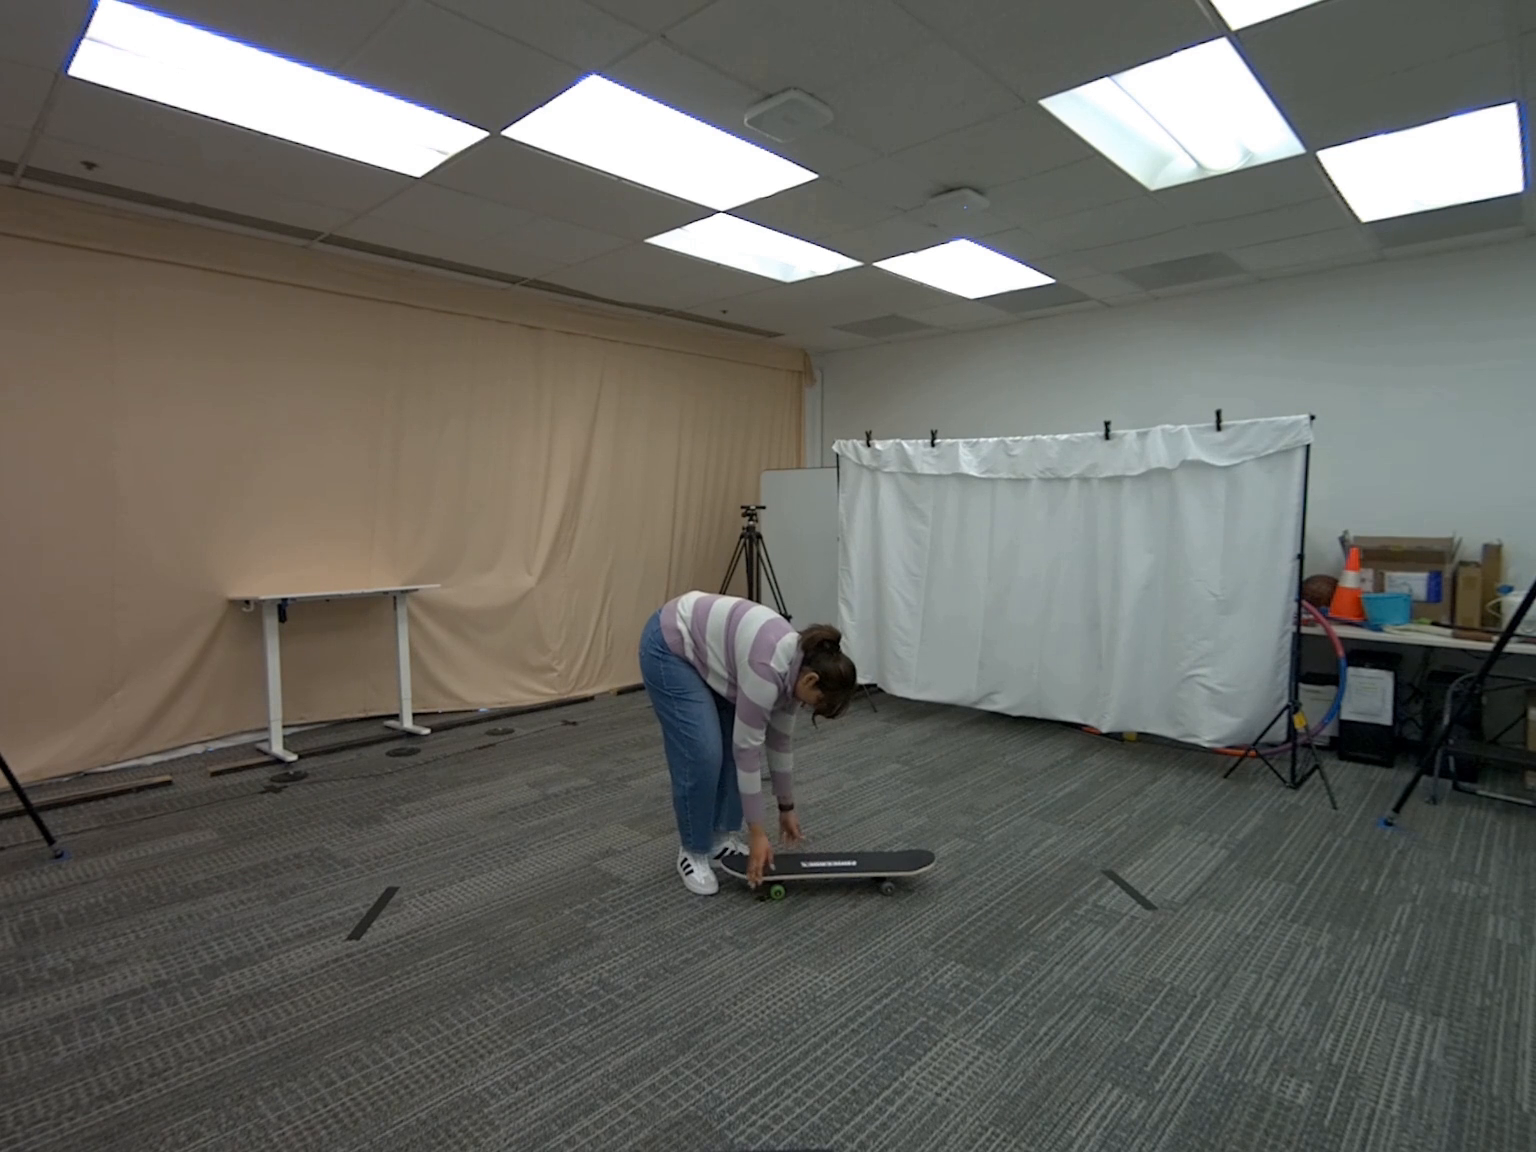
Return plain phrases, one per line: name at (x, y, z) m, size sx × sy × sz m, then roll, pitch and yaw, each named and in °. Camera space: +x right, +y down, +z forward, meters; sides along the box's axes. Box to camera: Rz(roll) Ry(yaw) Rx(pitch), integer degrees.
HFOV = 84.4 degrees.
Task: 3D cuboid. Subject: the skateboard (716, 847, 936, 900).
skateboard at (0.229, 1.081, 3.063) m, size 0.781 × 0.110 × 0.195 m, roll -1°, pitch 5°, yaw -5°
